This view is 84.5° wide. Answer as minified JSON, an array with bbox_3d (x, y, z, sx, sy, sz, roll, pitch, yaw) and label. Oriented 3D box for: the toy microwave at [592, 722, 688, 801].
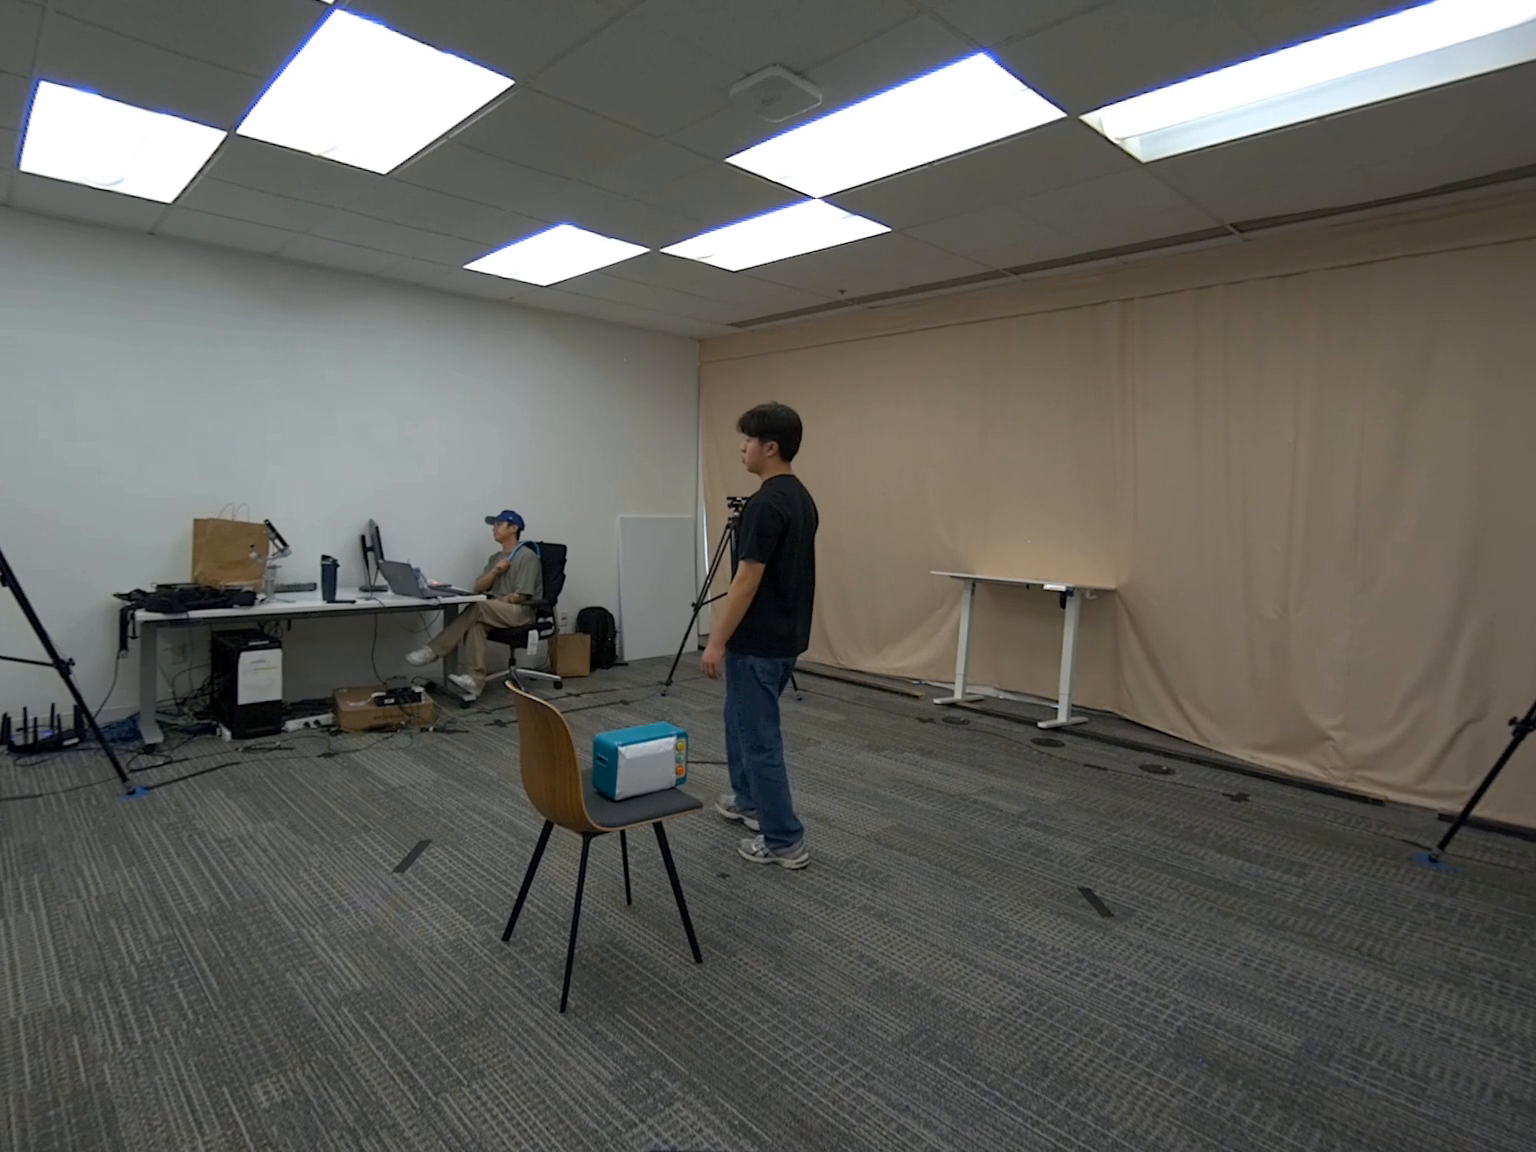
[{"bbox_3d":[-0.396,0.579,2.617,0.280,0.183,0.156,-3,7,-39],"label":"toy microwave"}]
